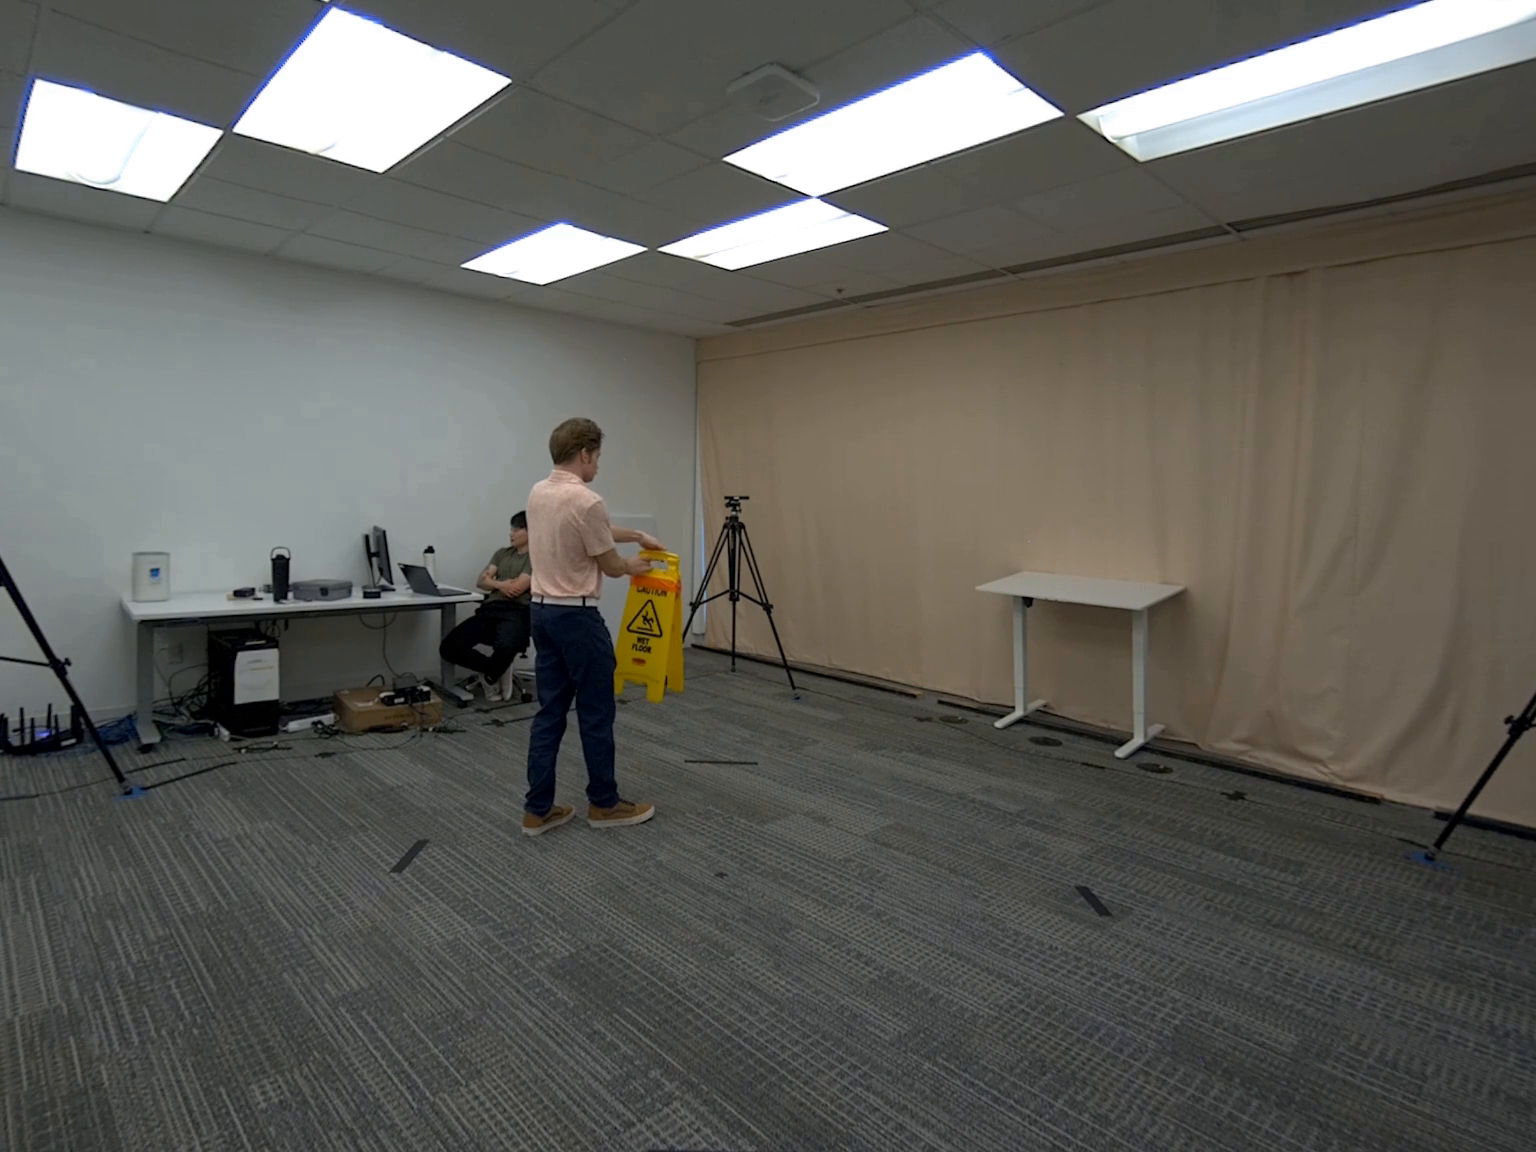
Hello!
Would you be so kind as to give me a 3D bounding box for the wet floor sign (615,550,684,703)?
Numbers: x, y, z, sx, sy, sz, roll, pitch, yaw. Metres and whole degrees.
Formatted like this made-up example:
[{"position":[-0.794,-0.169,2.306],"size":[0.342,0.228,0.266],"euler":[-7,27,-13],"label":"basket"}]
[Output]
[{"position":[-0.549,0.215,3.852],"size":[0.286,0.644,0.286],"euler":[7,4,16],"label":"wet floor sign"}]
